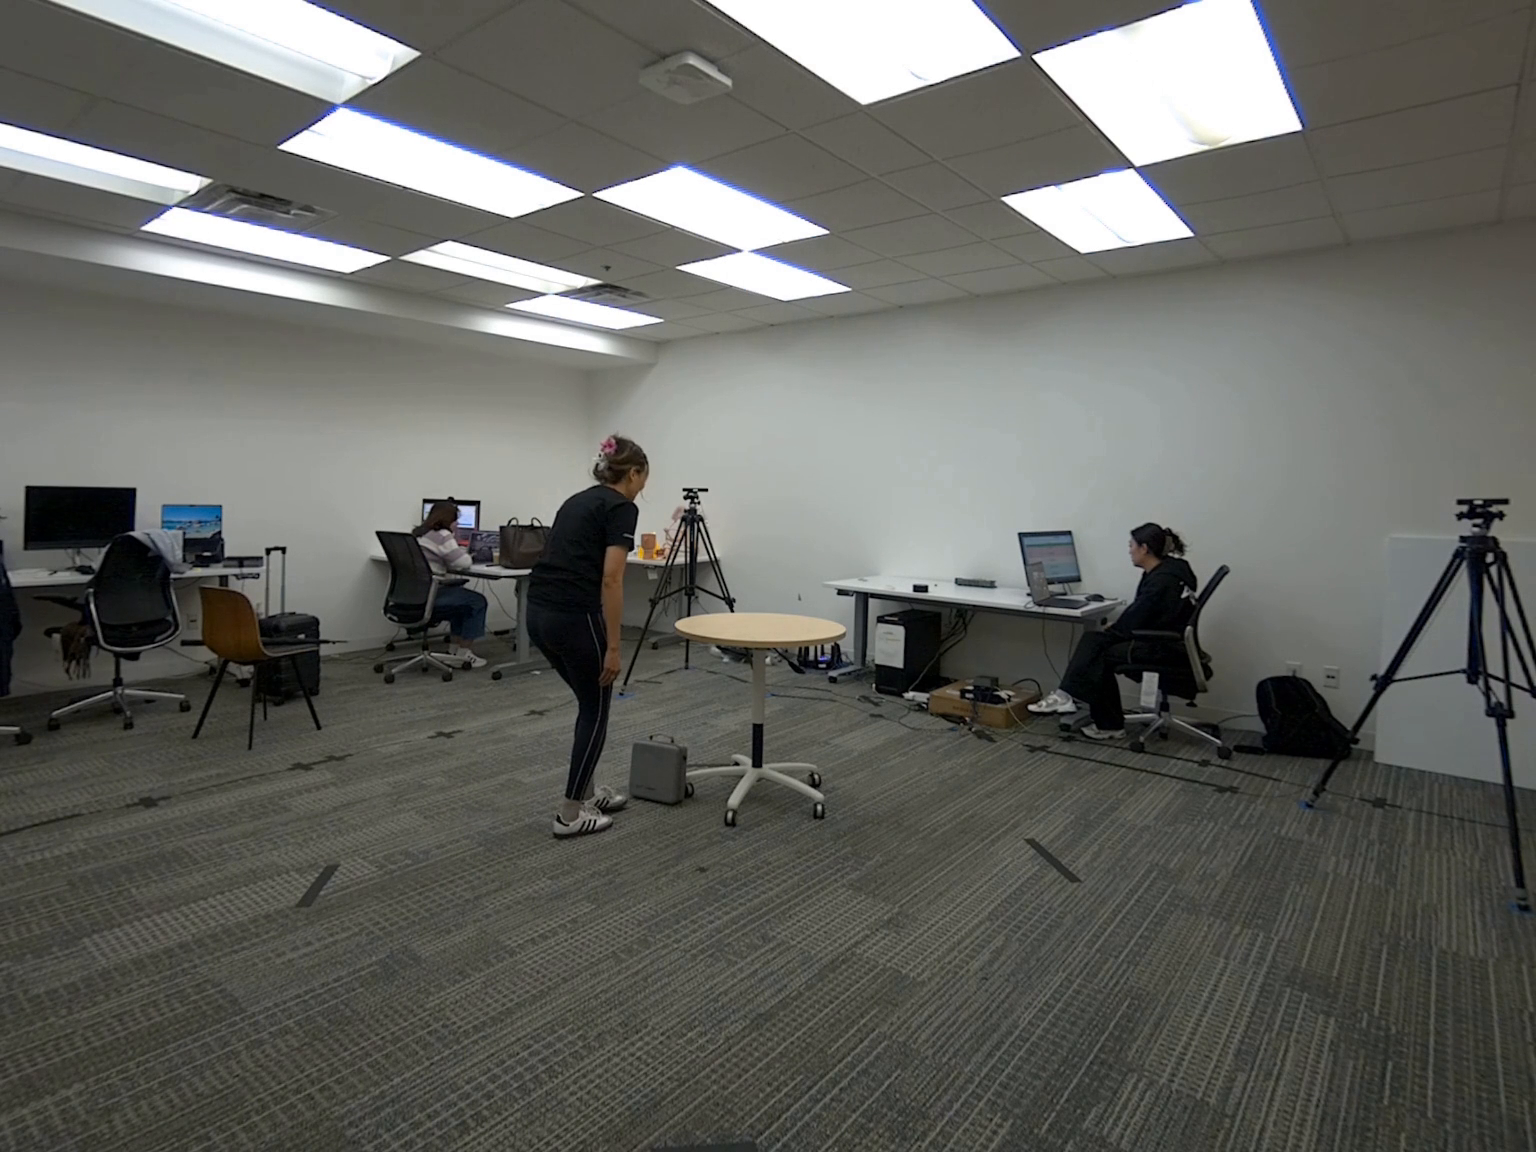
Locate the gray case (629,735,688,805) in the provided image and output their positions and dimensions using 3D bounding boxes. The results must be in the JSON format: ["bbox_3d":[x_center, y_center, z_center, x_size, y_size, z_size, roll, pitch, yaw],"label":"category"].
[{"bbox_3d":[-0.511,0.863,3.808,0.265,0.262,0.101,2,-5,33],"label":"gray case"}]
